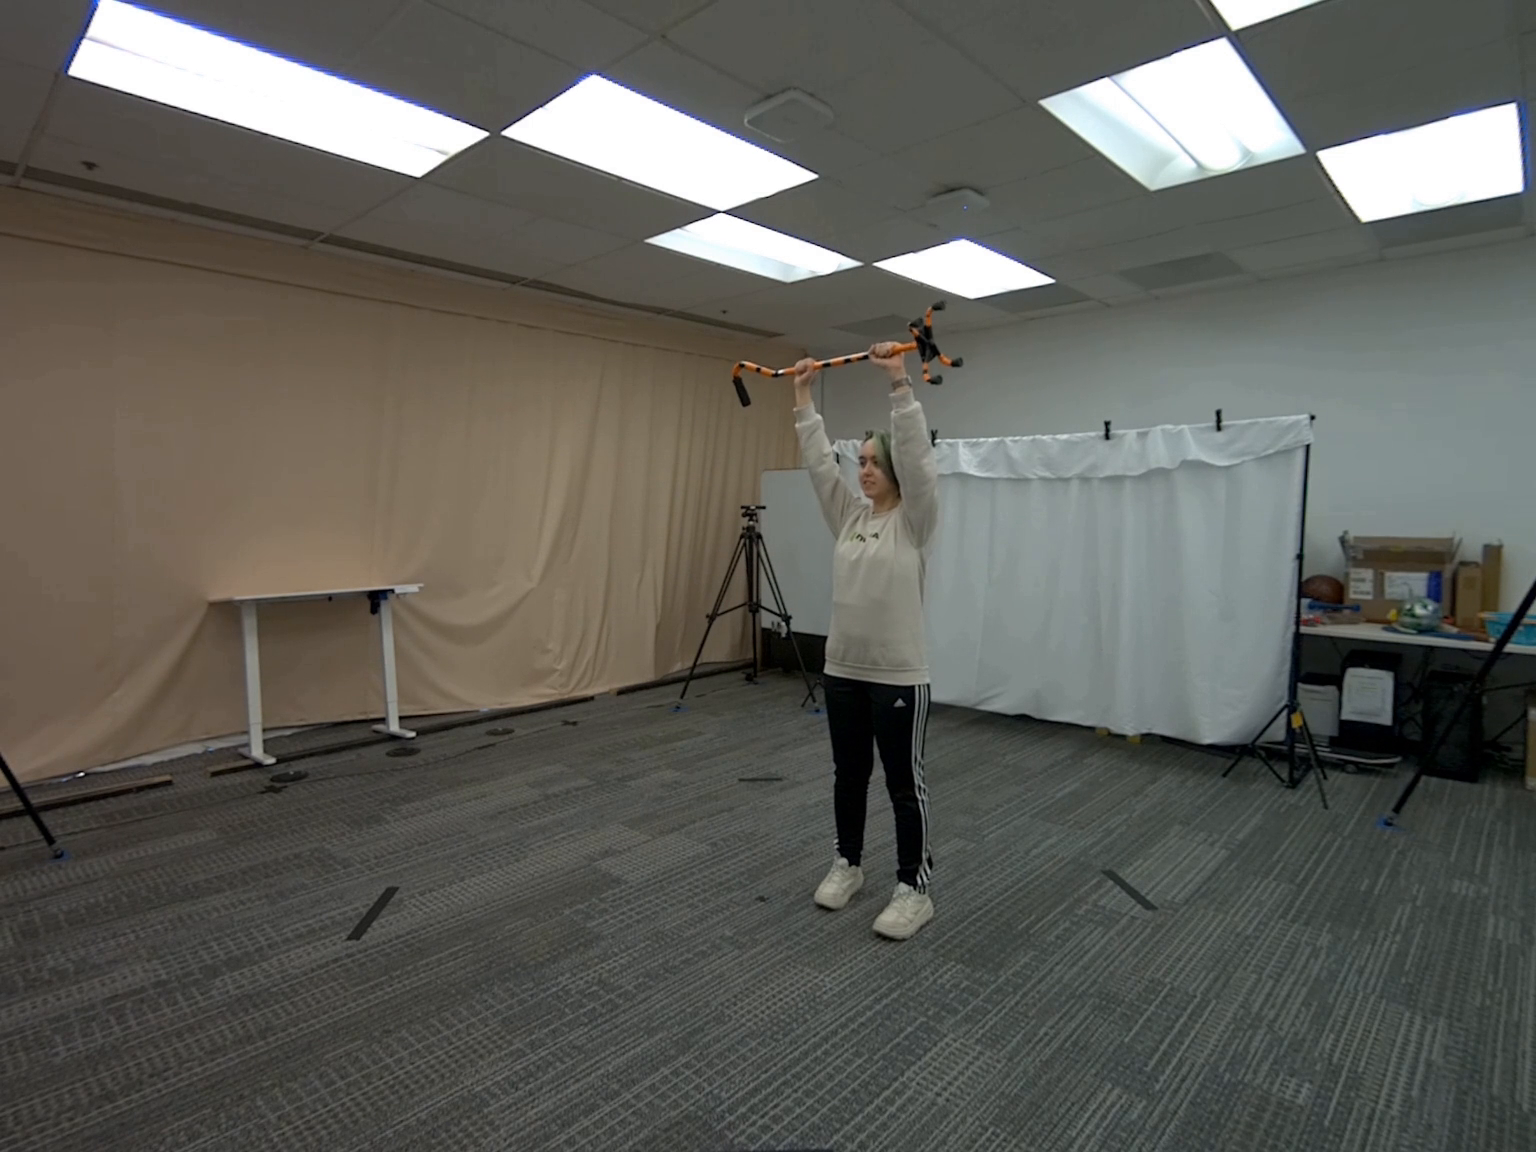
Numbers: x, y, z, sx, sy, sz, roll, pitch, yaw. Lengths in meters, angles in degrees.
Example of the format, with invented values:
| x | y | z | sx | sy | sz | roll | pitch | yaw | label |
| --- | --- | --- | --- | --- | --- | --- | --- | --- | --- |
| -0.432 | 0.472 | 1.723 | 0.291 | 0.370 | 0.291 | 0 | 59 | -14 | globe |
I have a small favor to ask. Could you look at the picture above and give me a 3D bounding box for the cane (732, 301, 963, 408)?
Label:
| x | y | z | sx | sy | sz | roll | pitch | yaw | label |
| --- | --- | --- | --- | --- | --- | --- | --- | --- | --- |
| 0.185 | -0.689 | 2.763 | 0.938 | 0.202 | 0.150 | 3 | 34 | 48 | cane |
